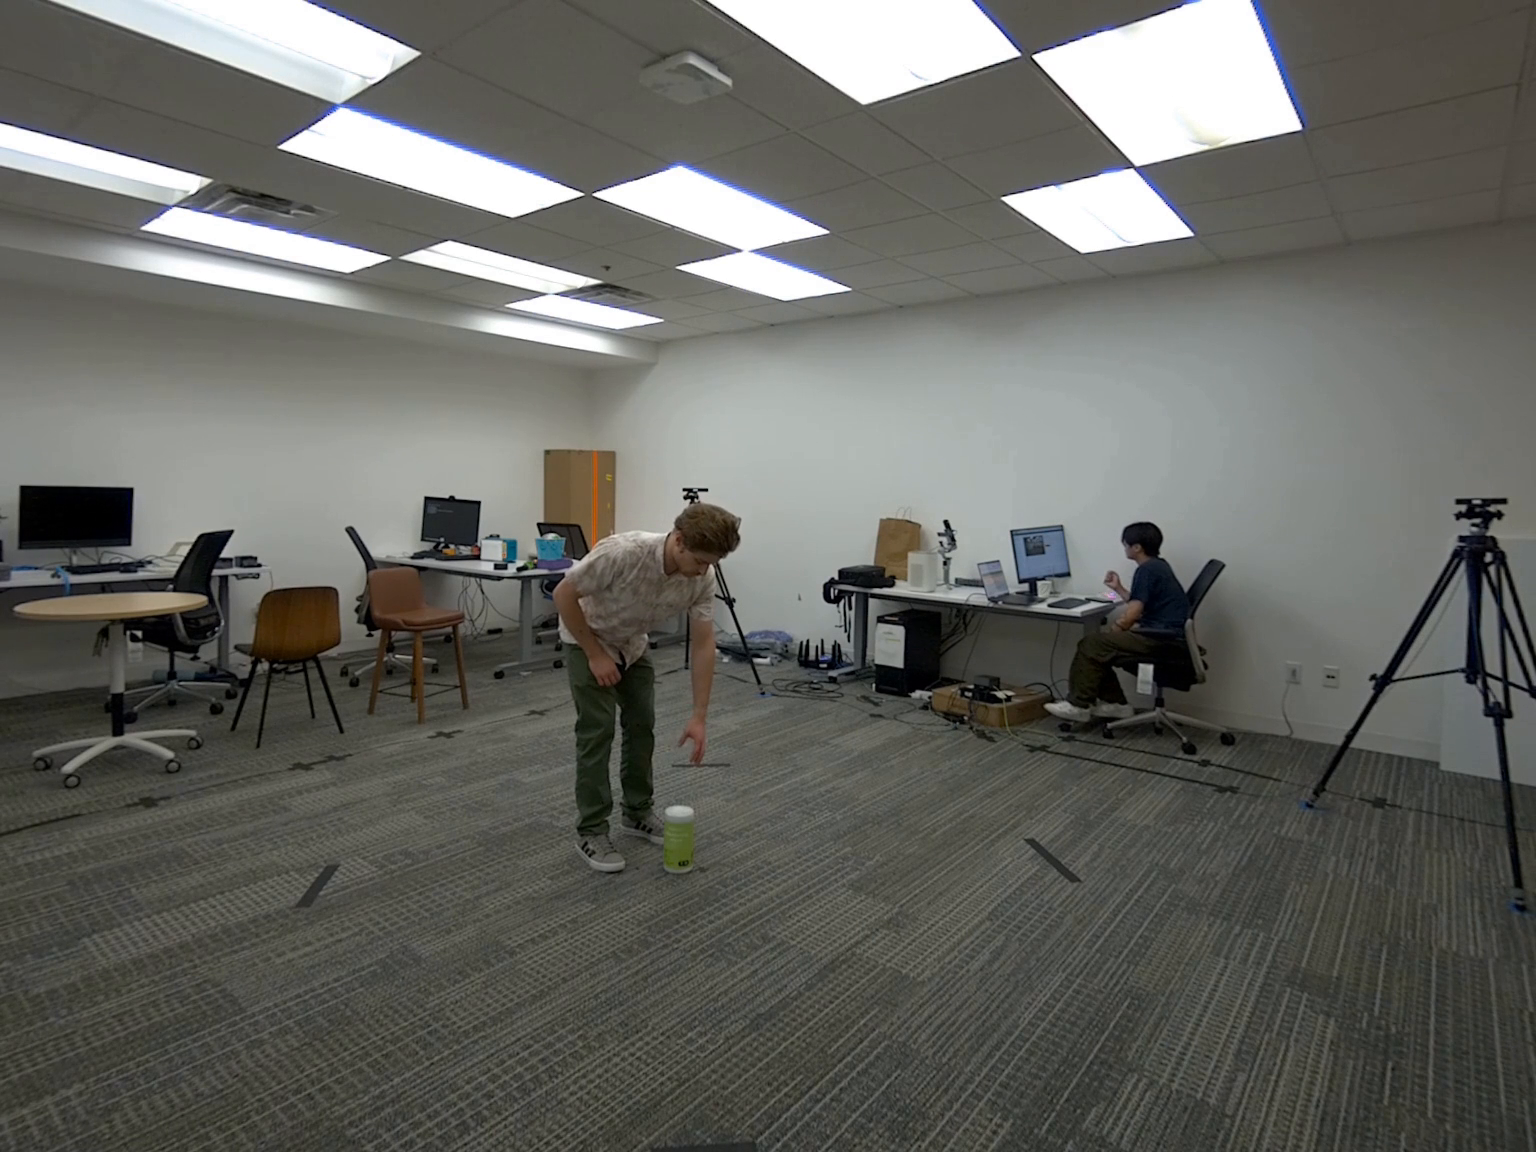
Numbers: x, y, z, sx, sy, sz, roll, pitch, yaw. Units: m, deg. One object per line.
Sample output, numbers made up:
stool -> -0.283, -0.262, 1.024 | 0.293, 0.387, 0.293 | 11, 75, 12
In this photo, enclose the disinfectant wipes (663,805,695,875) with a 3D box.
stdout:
disinfectant wipes -> -0.336, 0.962, 3.111 | 0.118, 0.217, 0.118 | 1, 2, -2
